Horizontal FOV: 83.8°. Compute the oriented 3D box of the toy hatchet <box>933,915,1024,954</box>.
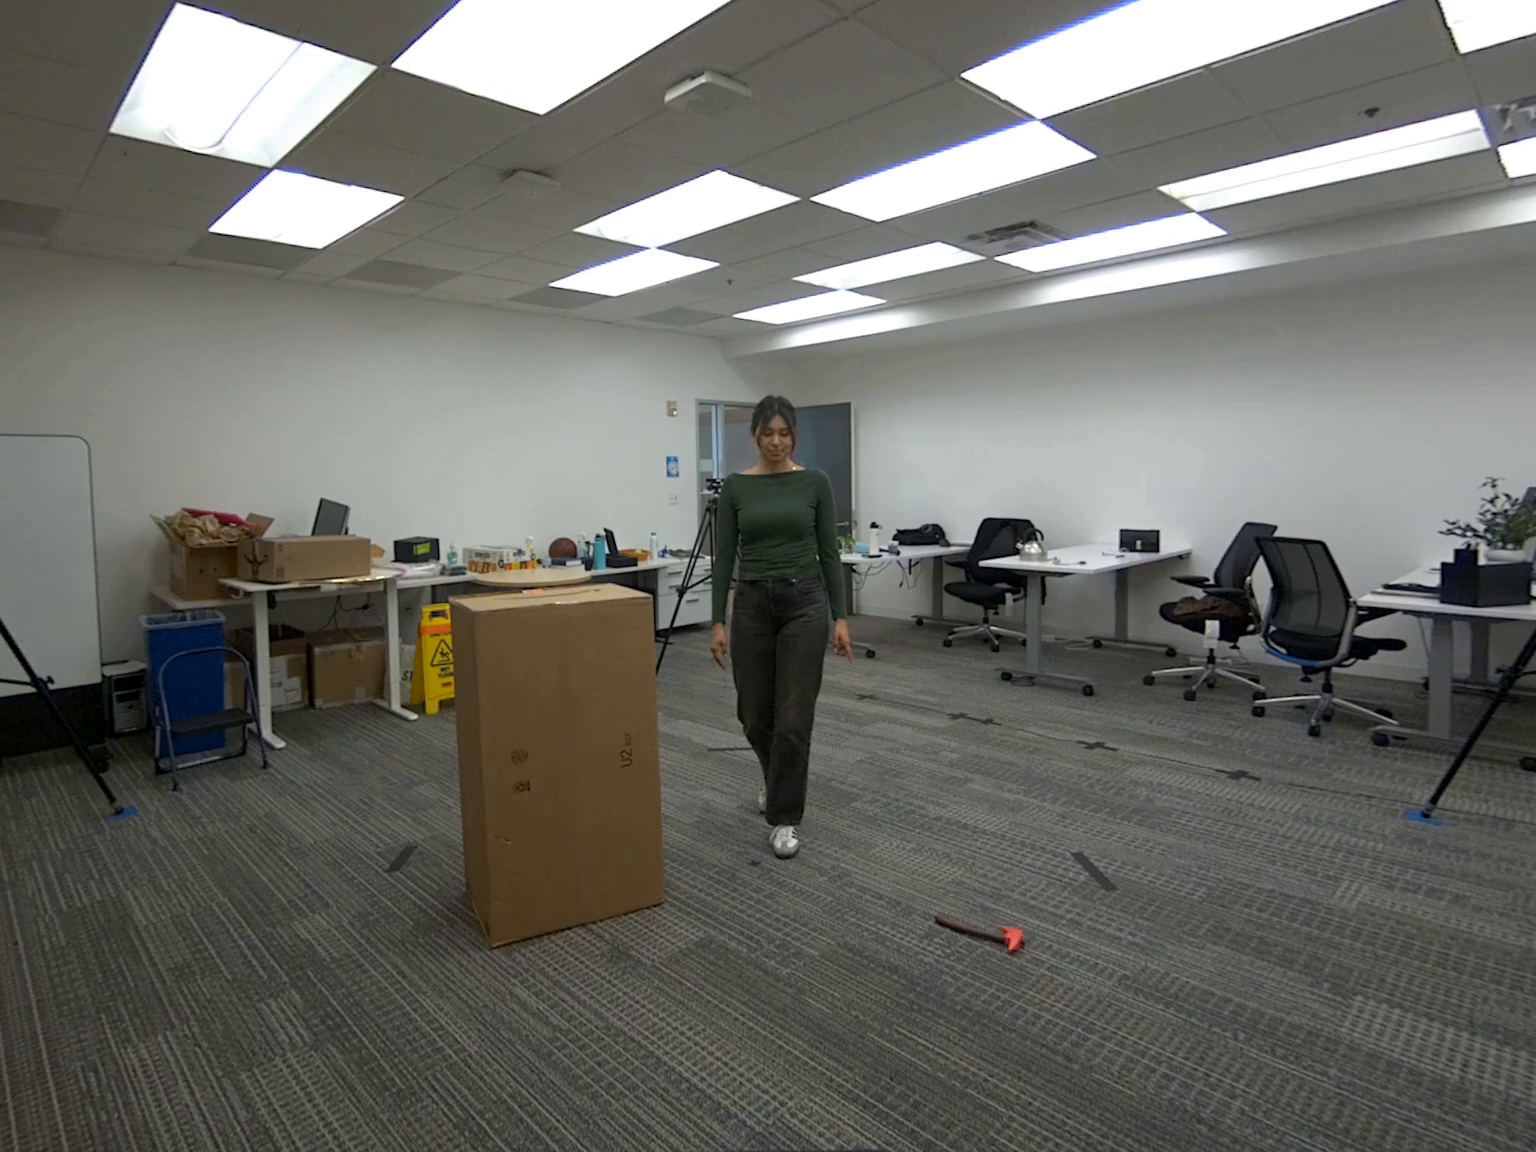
[{"bbox_3d":[0.658,1.070,2.610,0.128,0.029,0.278,-7,8,-43],"label":"toy hatchet"}]
